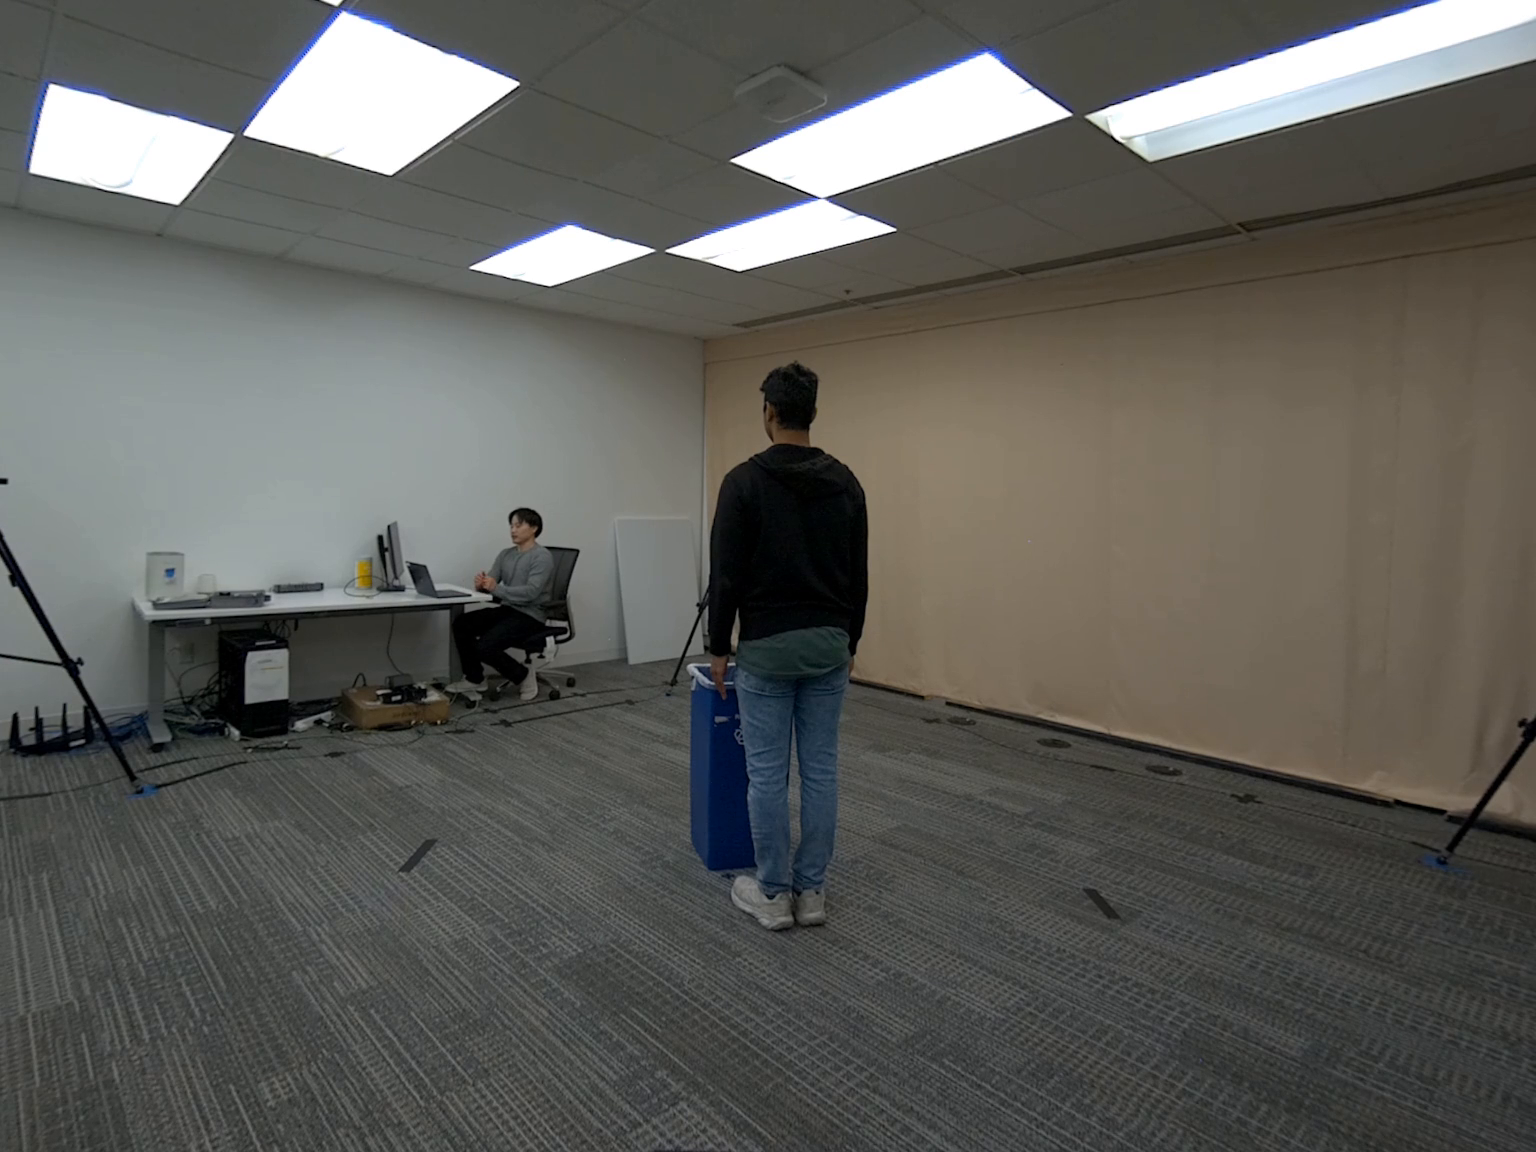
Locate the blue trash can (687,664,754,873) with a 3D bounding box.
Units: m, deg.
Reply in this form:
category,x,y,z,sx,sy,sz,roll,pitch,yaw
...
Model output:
category,x,y,z,sx,sy,sz,roll,pitch,yaw
blue trash can,-0.117,0.730,3.307,0.369,0.712,0.384,0,4,-18
